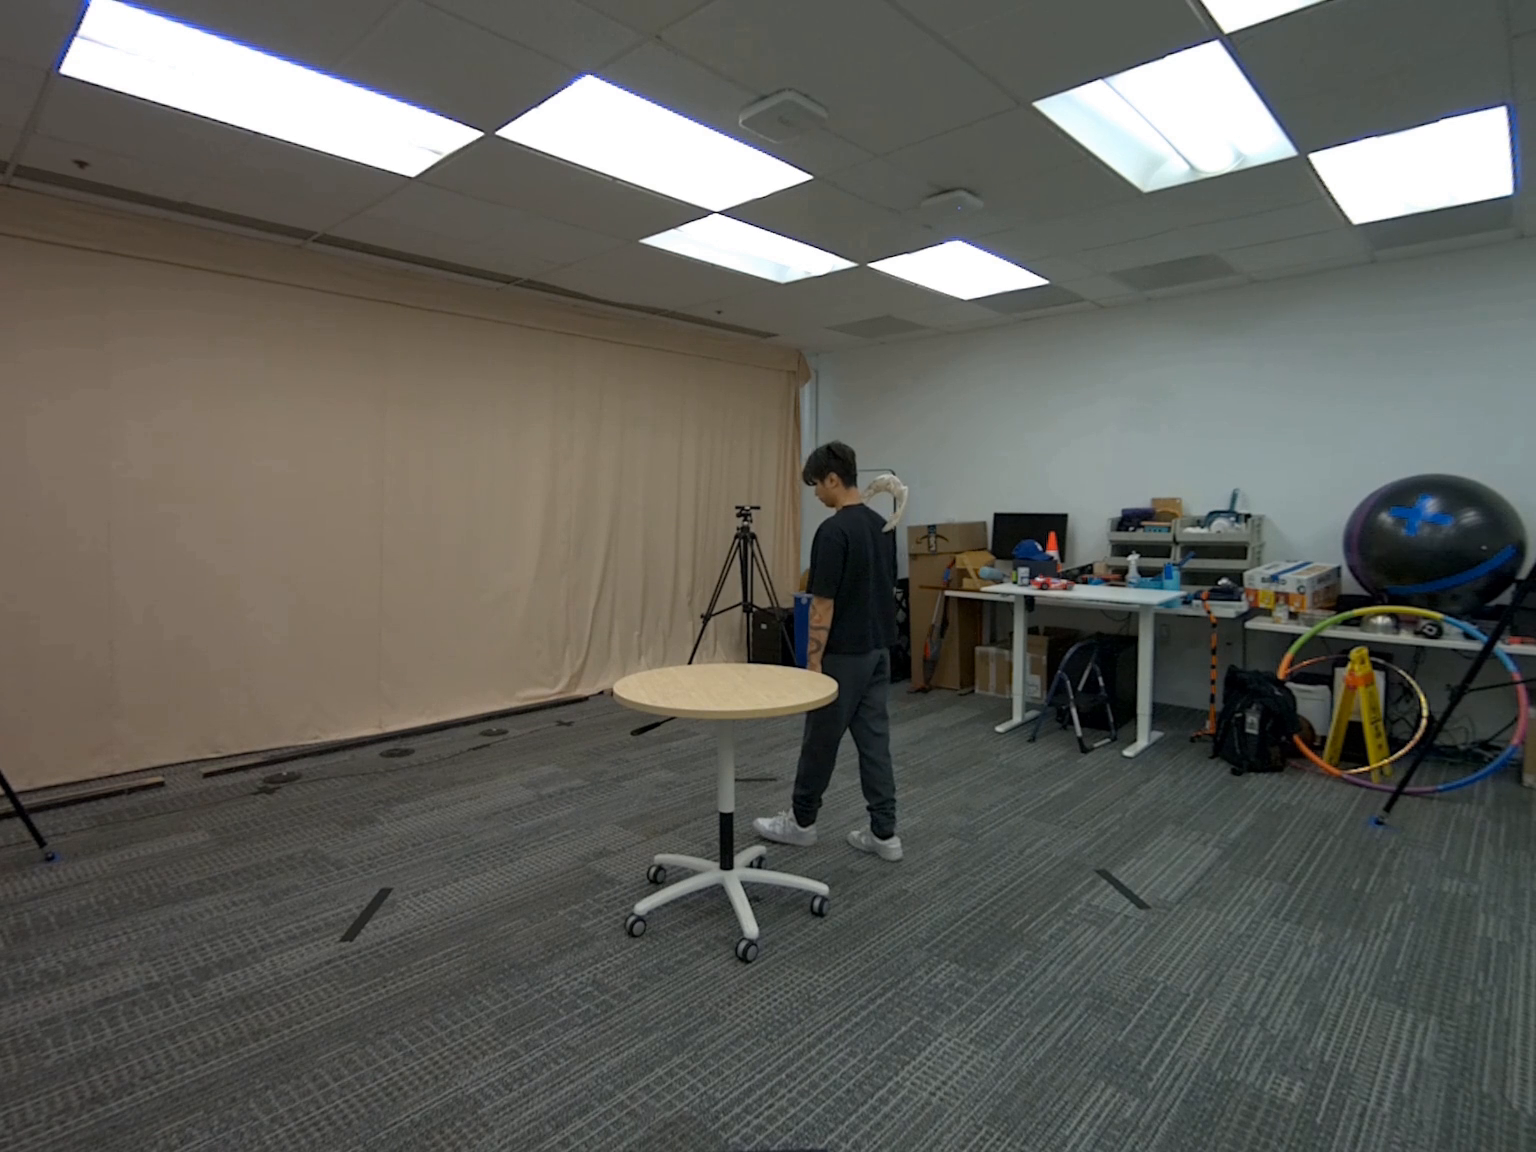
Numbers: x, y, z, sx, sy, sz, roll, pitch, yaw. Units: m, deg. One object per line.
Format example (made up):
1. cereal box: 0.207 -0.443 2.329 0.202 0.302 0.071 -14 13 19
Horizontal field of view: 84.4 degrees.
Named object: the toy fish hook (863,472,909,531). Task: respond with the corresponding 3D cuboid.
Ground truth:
1. toy fish hook: 0.387 -0.192 3.458 0.046 0.508 0.232 21 24 -44
